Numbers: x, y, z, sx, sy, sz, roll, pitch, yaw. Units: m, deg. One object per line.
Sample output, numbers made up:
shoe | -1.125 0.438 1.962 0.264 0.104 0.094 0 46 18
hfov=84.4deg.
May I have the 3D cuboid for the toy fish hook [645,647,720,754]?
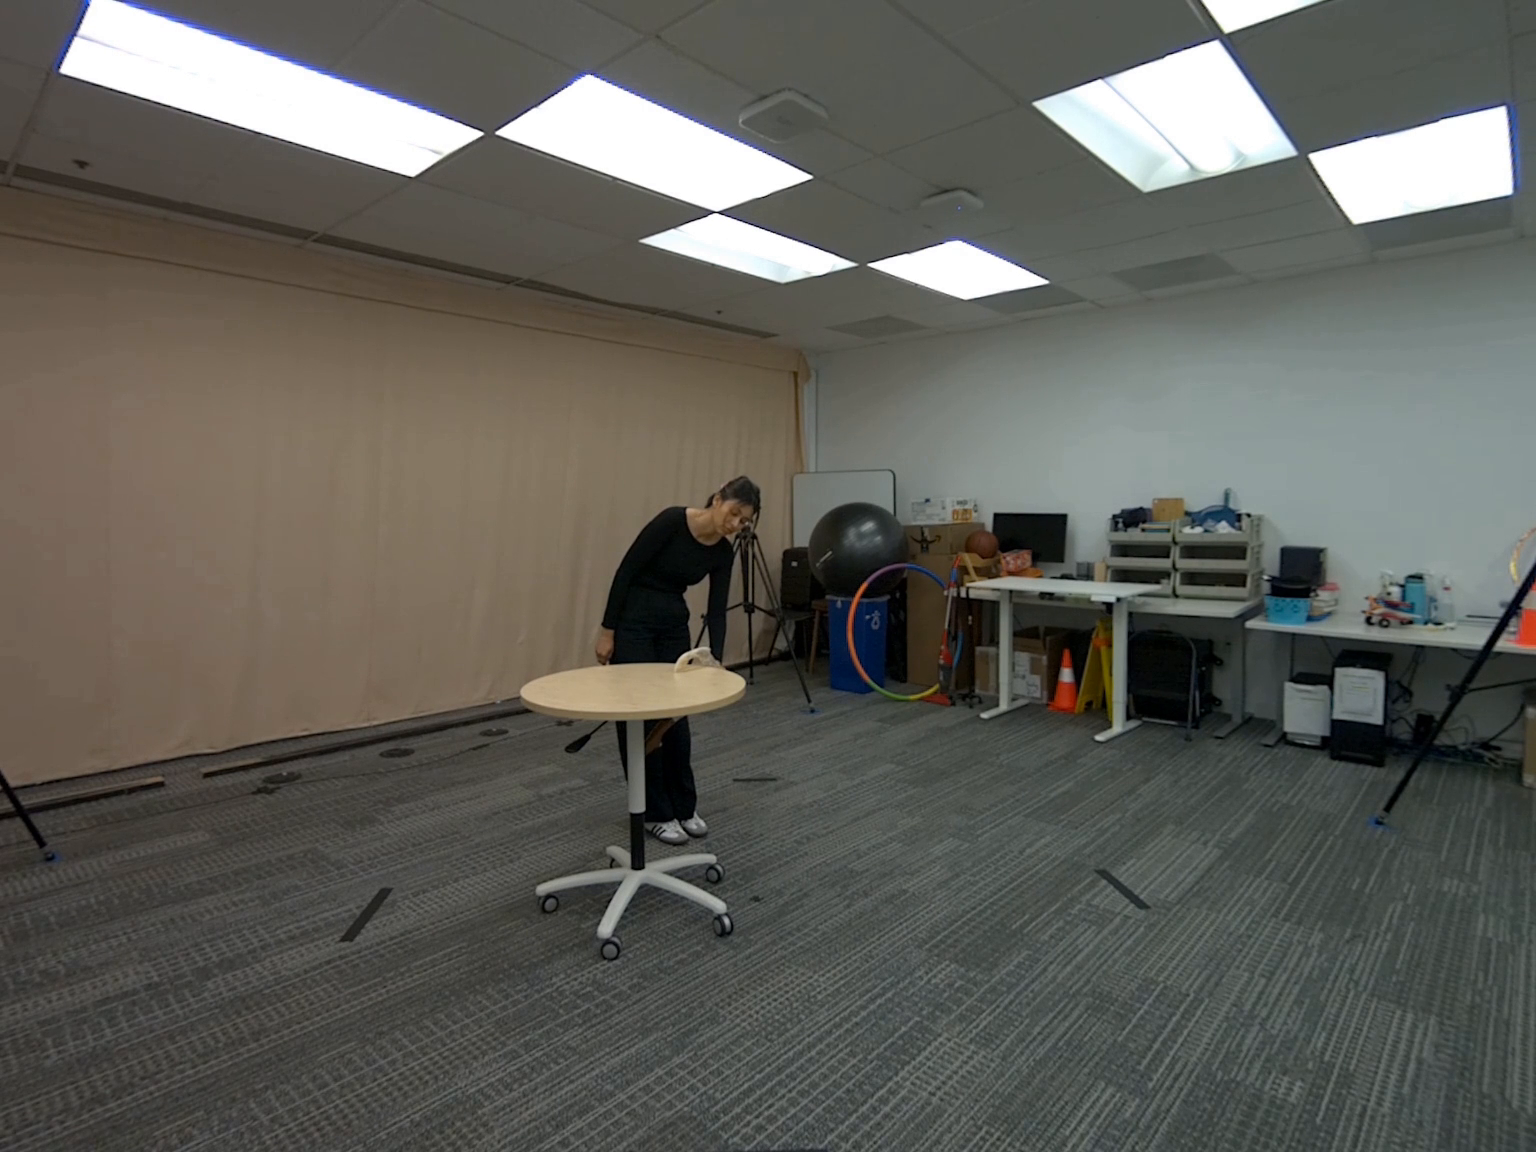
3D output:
toy fish hook | -0.343 0.452 3.095 0.050 0.219 0.502 0 34 38
